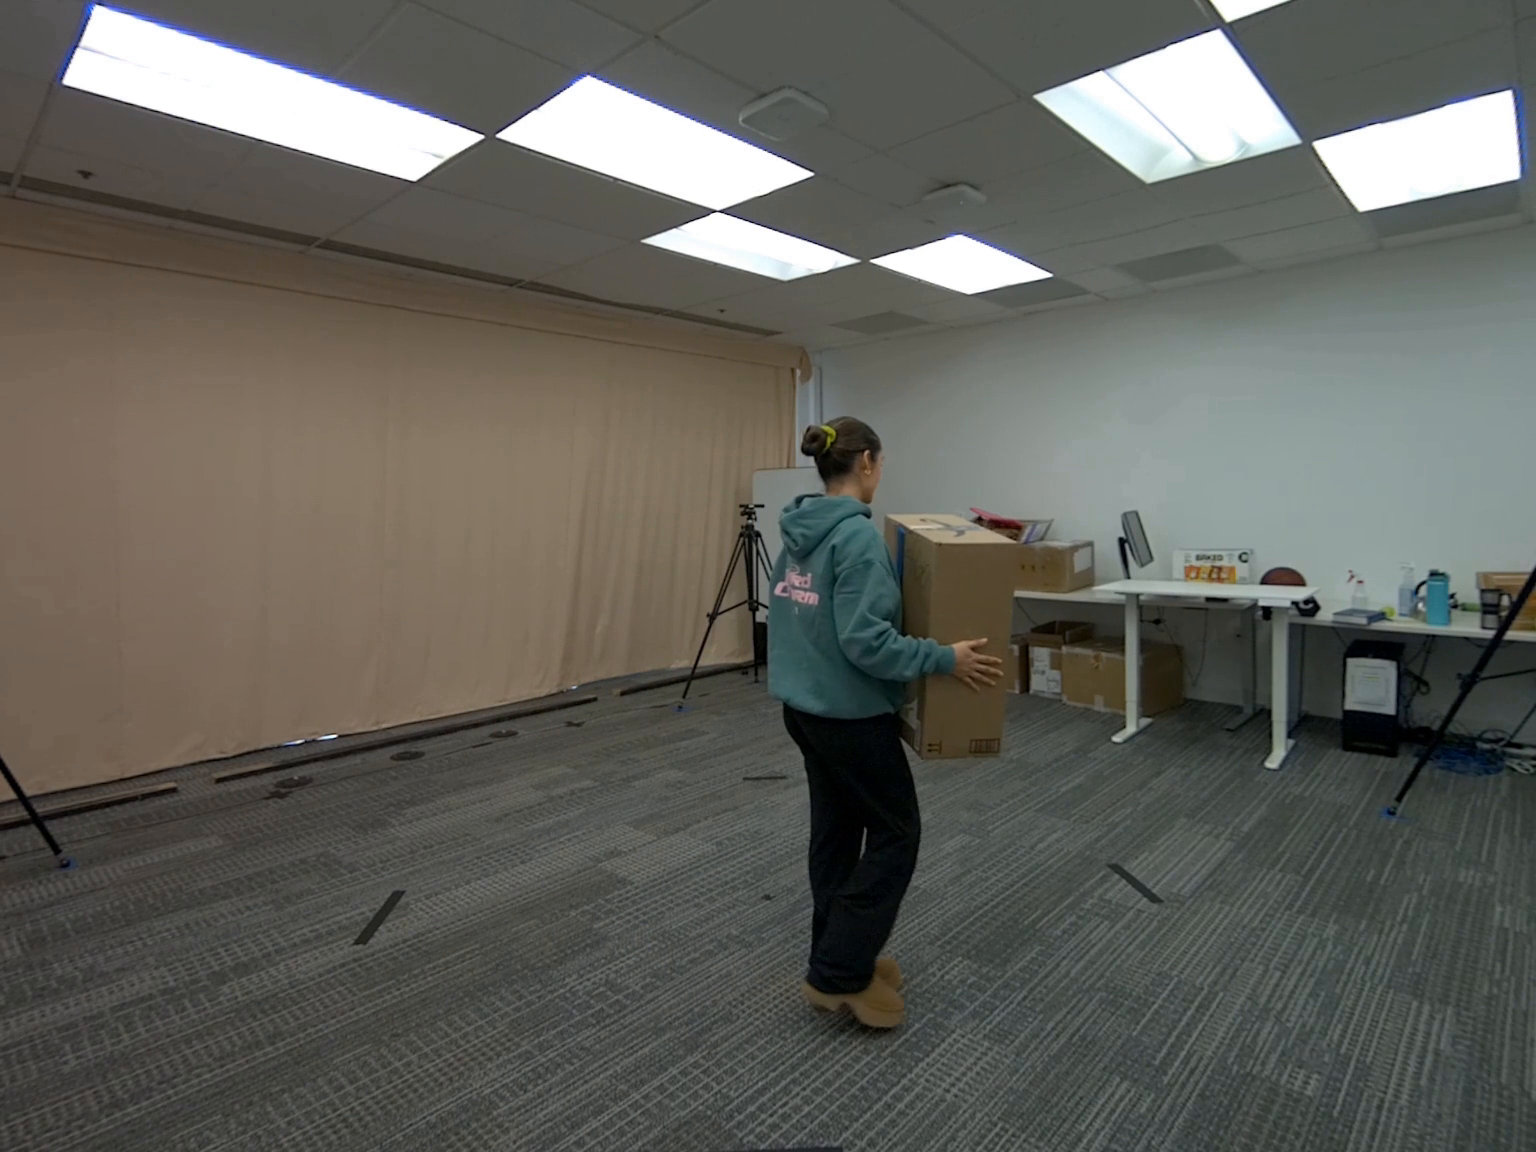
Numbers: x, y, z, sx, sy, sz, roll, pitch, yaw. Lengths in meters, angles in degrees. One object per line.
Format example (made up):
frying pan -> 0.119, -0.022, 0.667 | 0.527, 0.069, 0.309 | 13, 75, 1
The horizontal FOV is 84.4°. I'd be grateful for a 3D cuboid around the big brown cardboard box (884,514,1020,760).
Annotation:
big brown cardboard box -> 0.468, 0.152, 2.287 | 0.232, 0.585, 0.423 | 1, 11, -6
